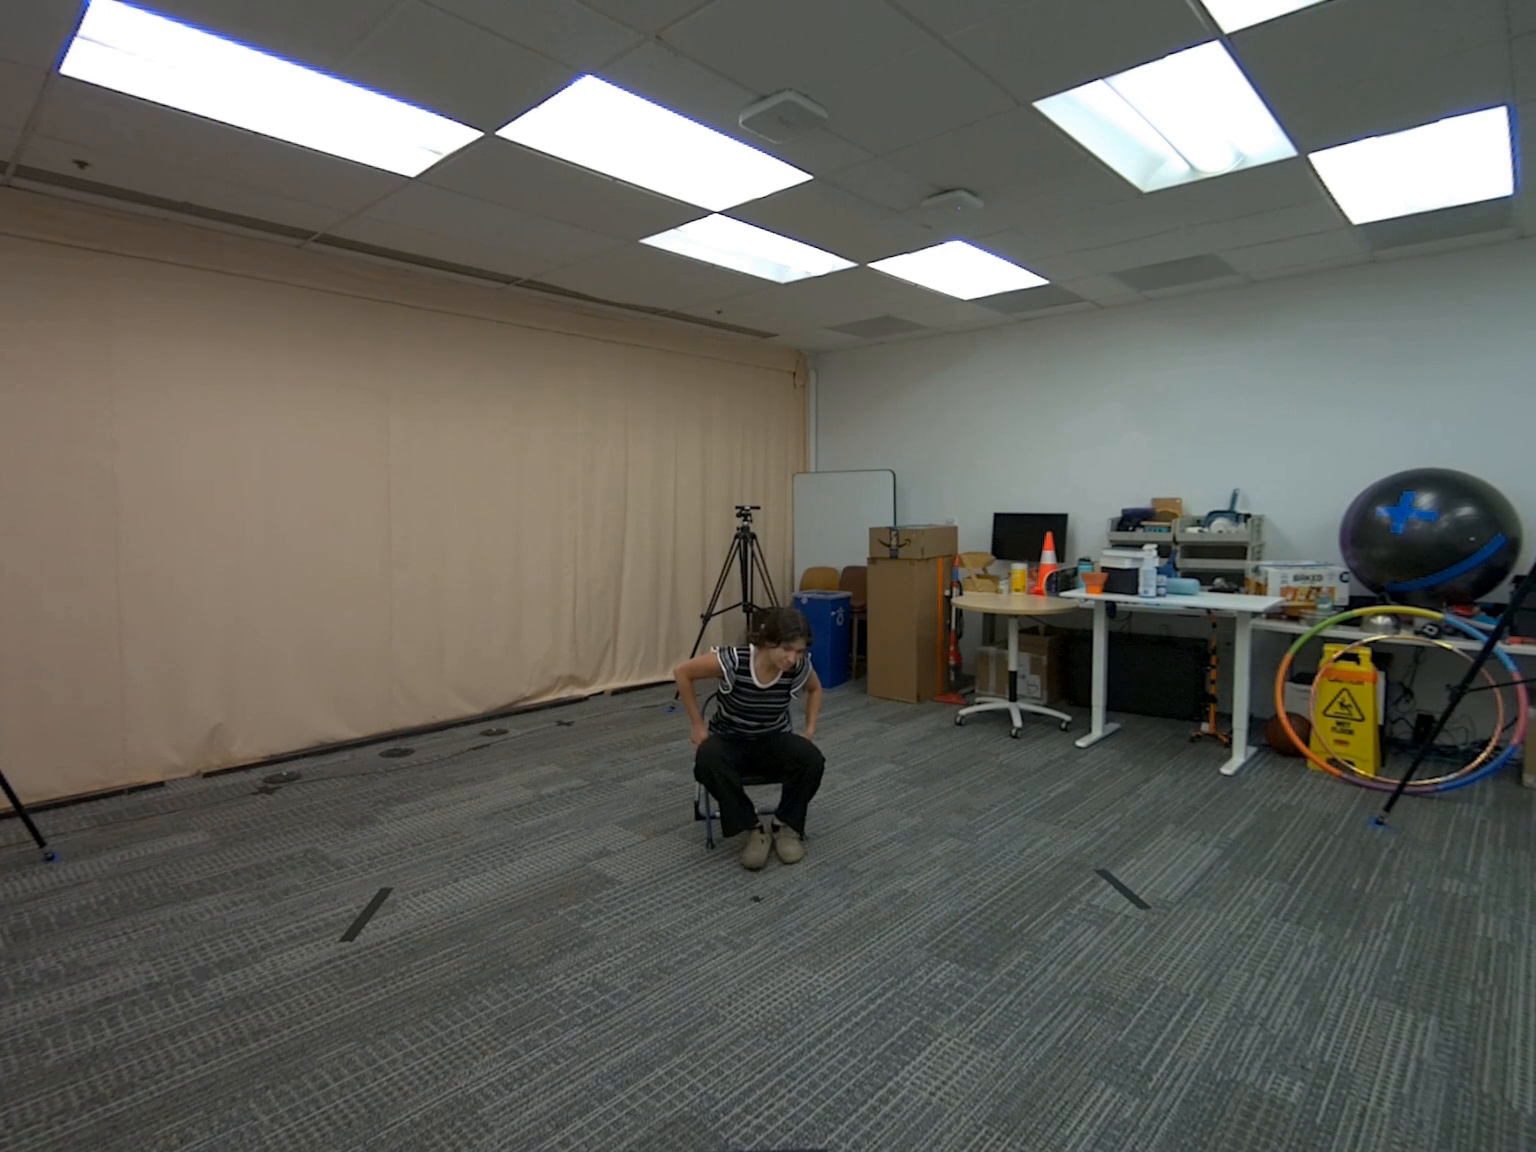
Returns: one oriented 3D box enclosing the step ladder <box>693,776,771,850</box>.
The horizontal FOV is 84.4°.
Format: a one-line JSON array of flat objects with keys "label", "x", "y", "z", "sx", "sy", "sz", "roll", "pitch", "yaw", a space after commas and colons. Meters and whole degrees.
[{"label": "step ladder", "x": -0.082, "y": 0.803, "z": 3.621, "sx": 0.424, "sy": 0.605, "sz": 0.355, "roll": 1, "pitch": 3, "yaw": -14}]
